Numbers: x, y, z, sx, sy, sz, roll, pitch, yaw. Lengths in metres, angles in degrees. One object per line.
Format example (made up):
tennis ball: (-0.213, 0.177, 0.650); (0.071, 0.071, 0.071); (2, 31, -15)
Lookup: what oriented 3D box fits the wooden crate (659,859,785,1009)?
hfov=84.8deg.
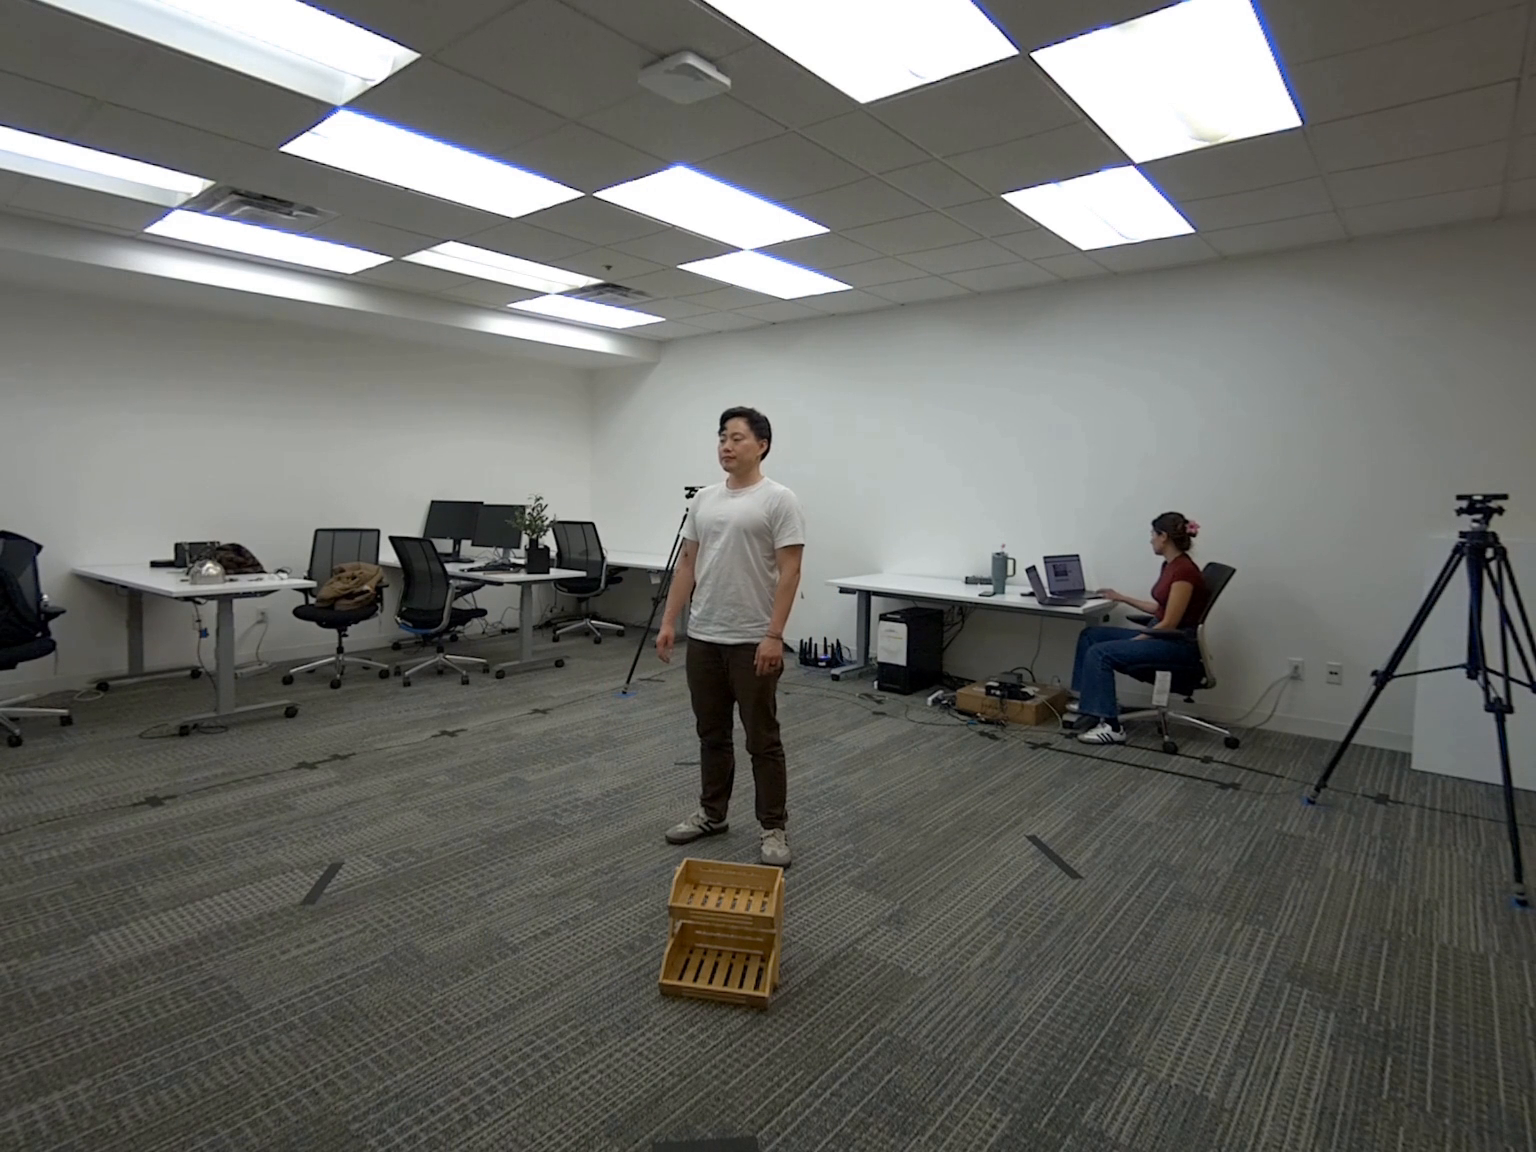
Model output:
wooden crate: (-0.135, 1.004, 2.415); (0.328, 0.272, 0.300); (2, 4, 9)
